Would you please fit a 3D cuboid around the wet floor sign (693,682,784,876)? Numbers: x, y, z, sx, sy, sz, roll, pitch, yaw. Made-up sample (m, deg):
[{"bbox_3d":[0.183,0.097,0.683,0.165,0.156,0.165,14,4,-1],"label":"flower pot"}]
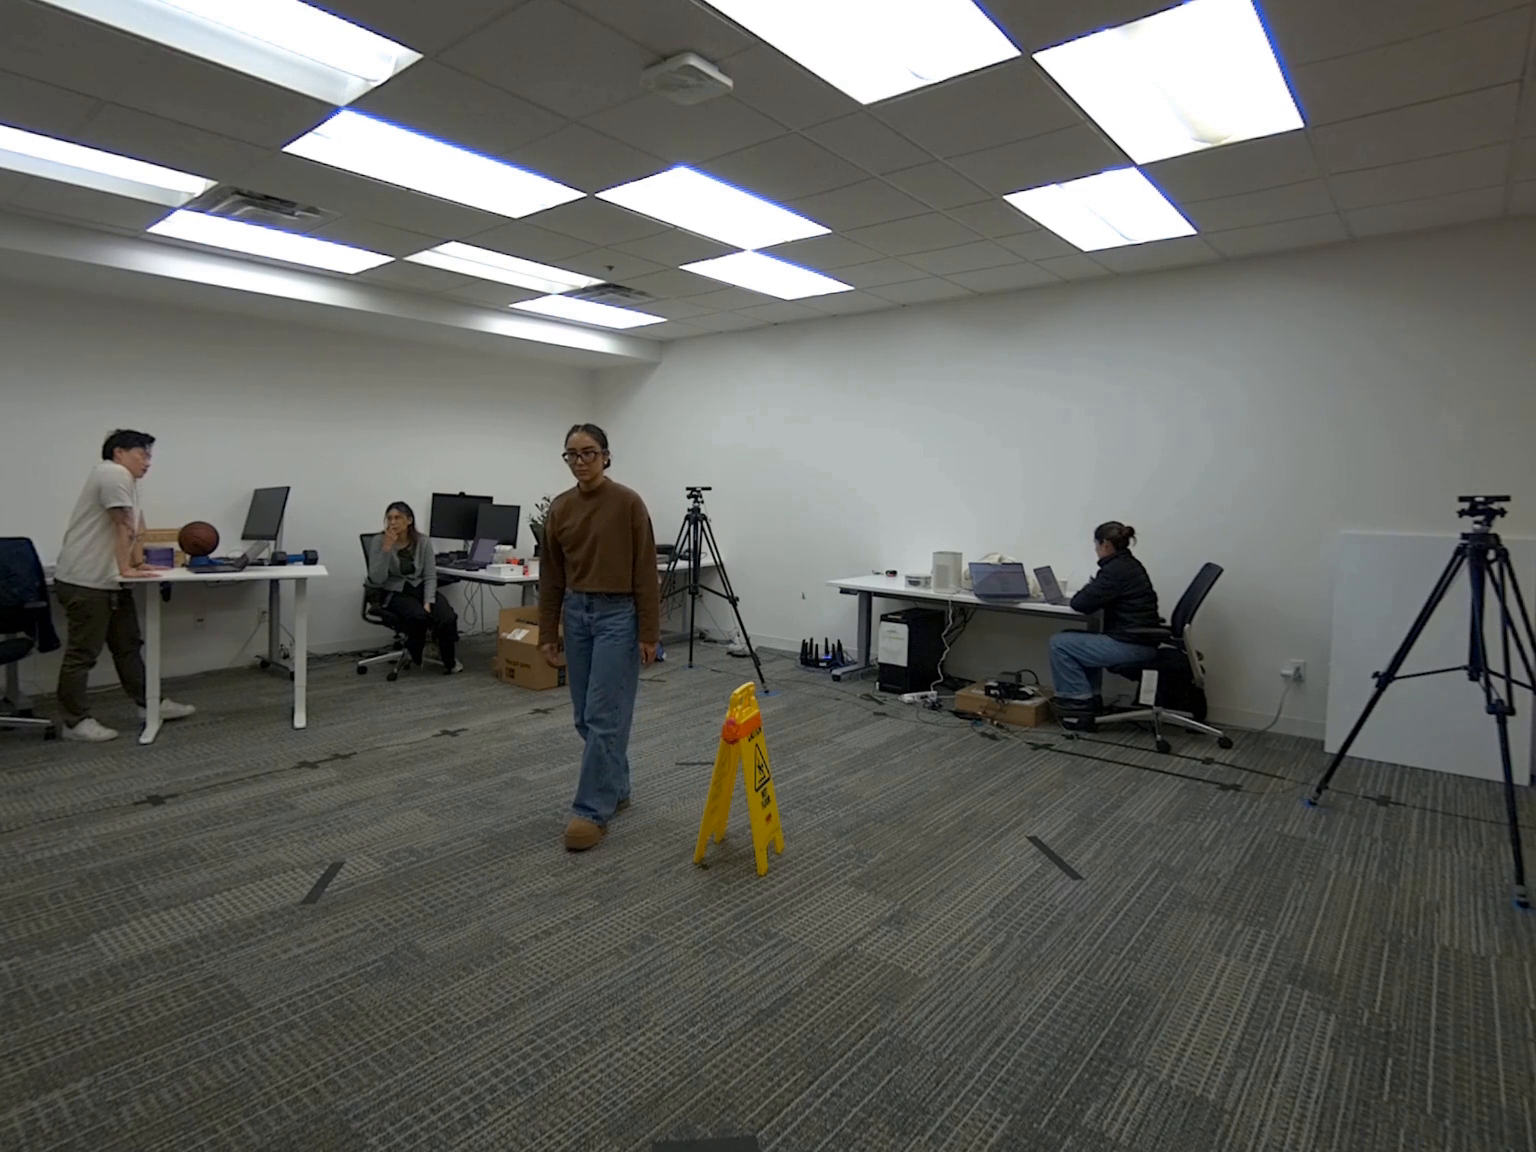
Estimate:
[{"bbox_3d":[-0.112,0.733,3.207,0.296,0.645,0.277,1,2,19],"label":"wet floor sign"}]
